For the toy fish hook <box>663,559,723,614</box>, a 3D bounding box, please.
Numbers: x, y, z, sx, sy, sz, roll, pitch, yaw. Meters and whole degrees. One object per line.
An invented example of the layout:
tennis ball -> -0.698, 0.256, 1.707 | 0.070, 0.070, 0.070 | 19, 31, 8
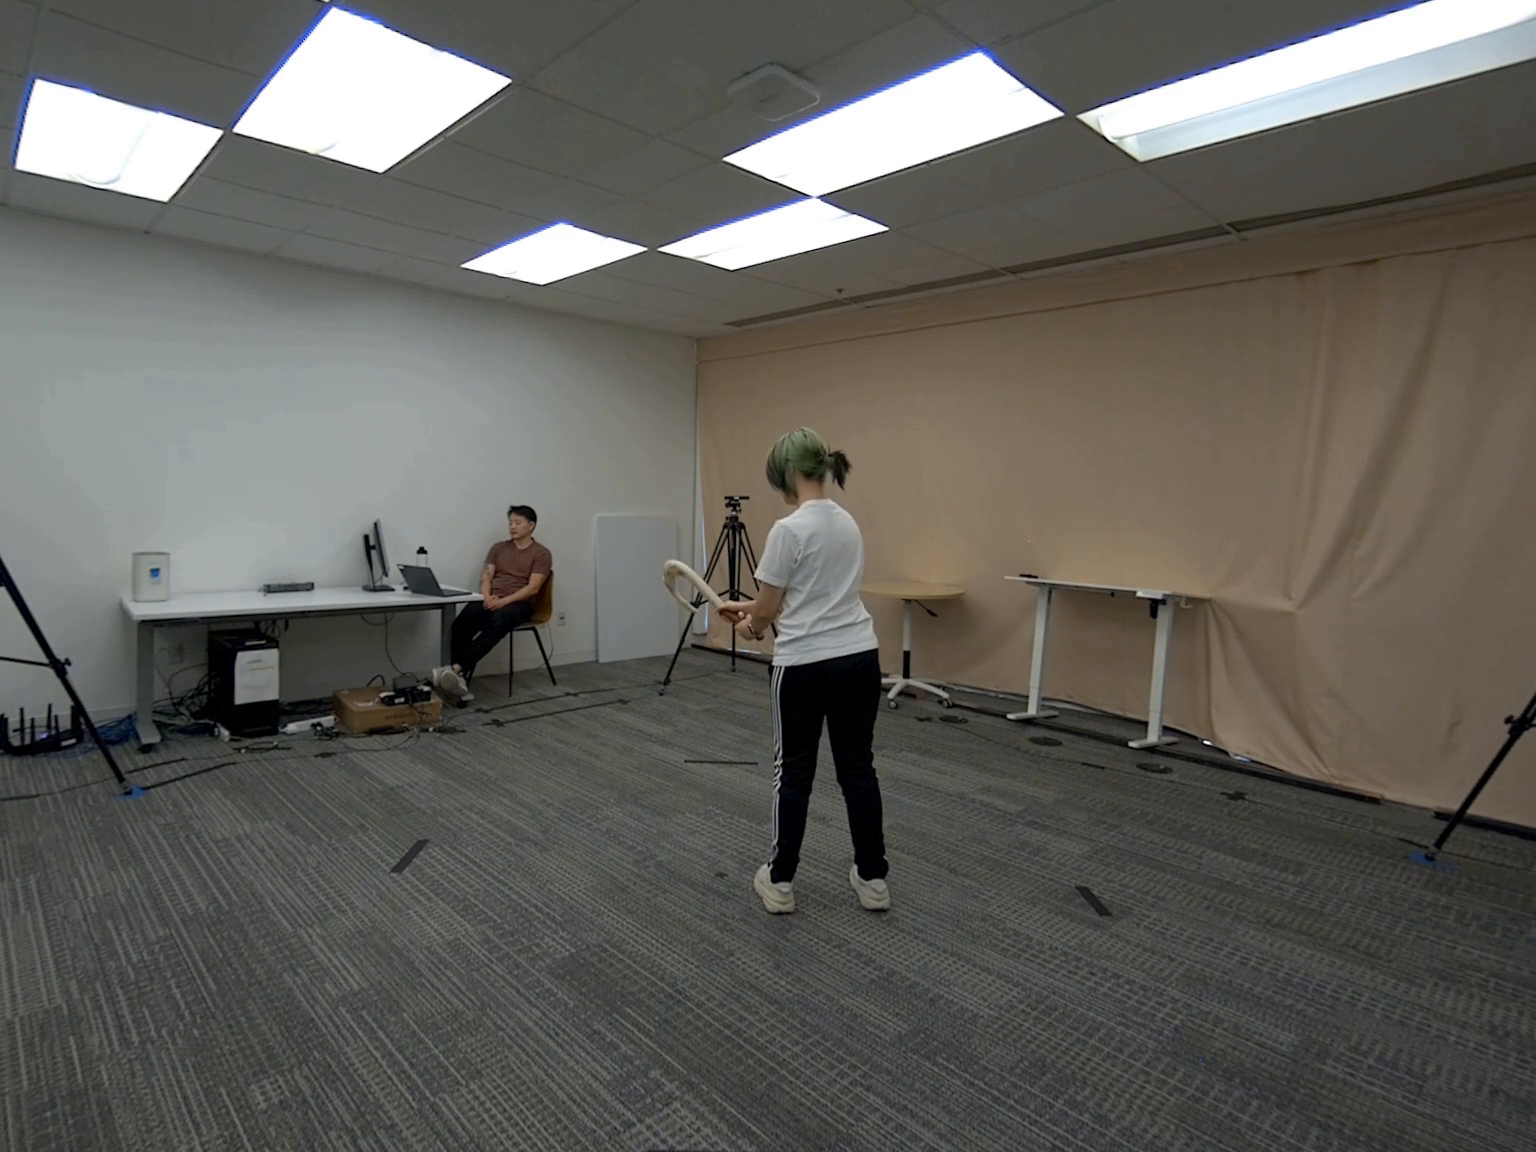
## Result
toy fish hook -> -0.231, 0.123, 3.245 | 0.519, 0.220, 0.048 | 38, 54, 23
